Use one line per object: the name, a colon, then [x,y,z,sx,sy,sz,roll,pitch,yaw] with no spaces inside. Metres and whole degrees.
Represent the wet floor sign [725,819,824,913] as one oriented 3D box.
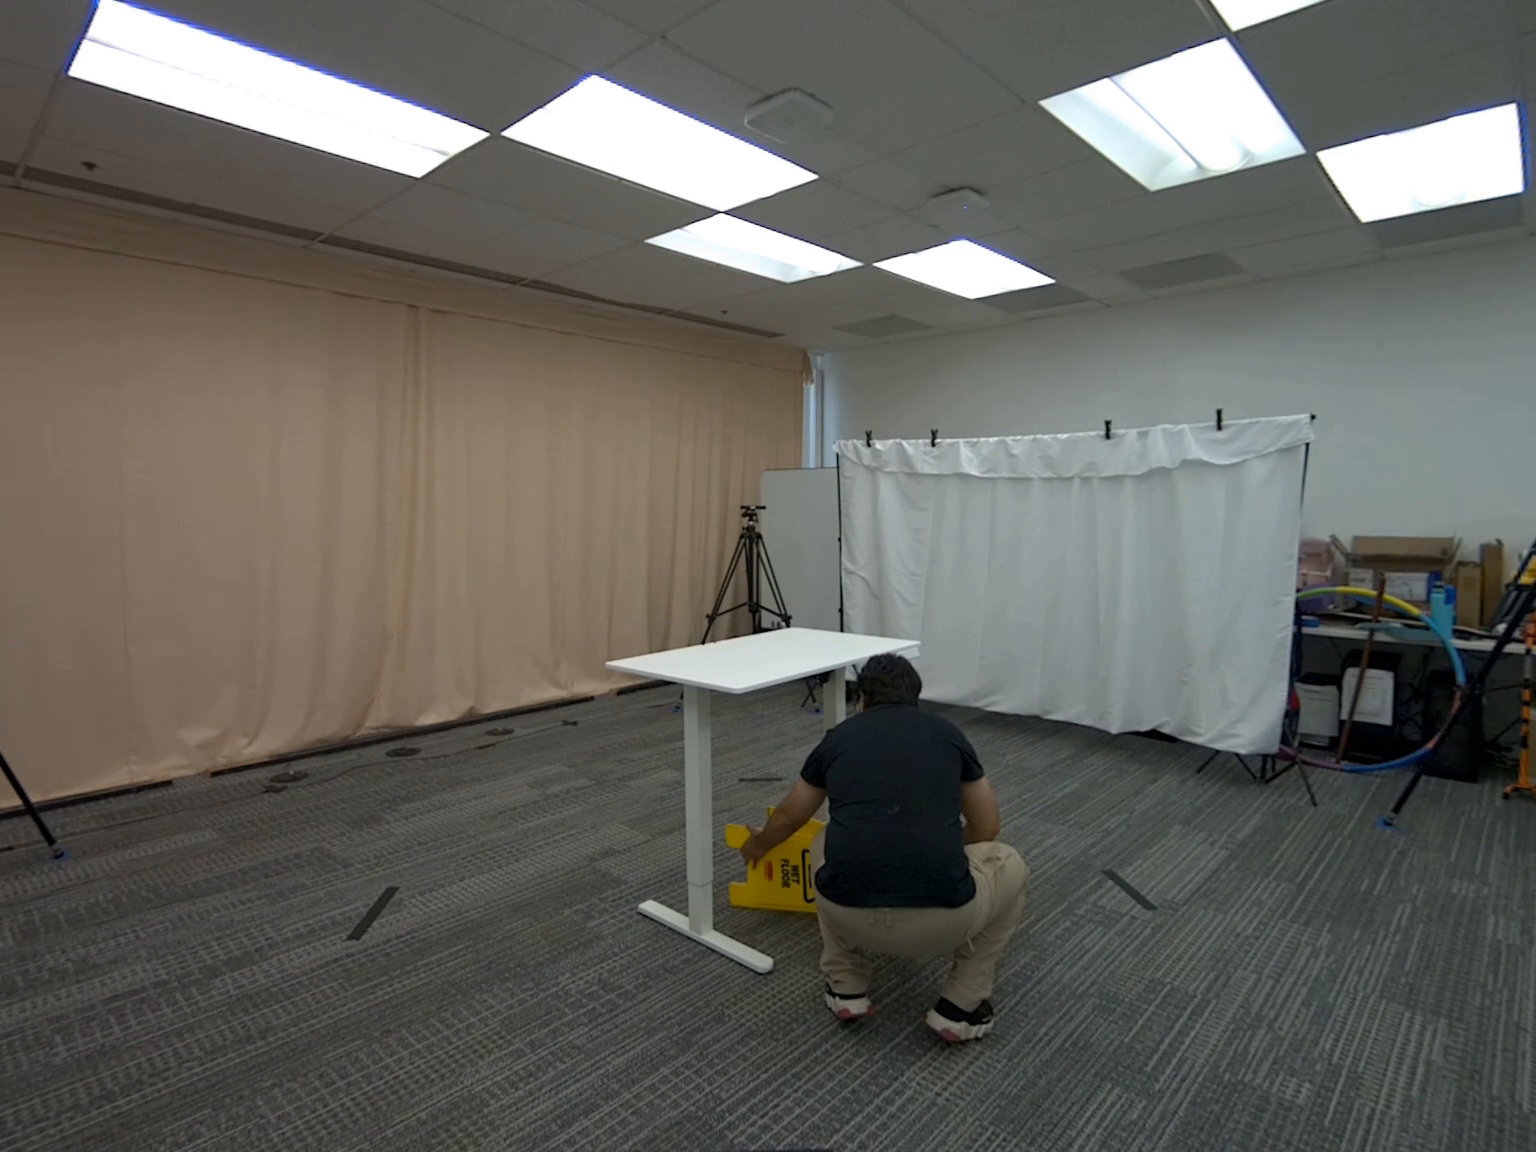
wet floor sign: [0.201,0.982,2.829,0.665,0.282,0.281,-3,0,36]
